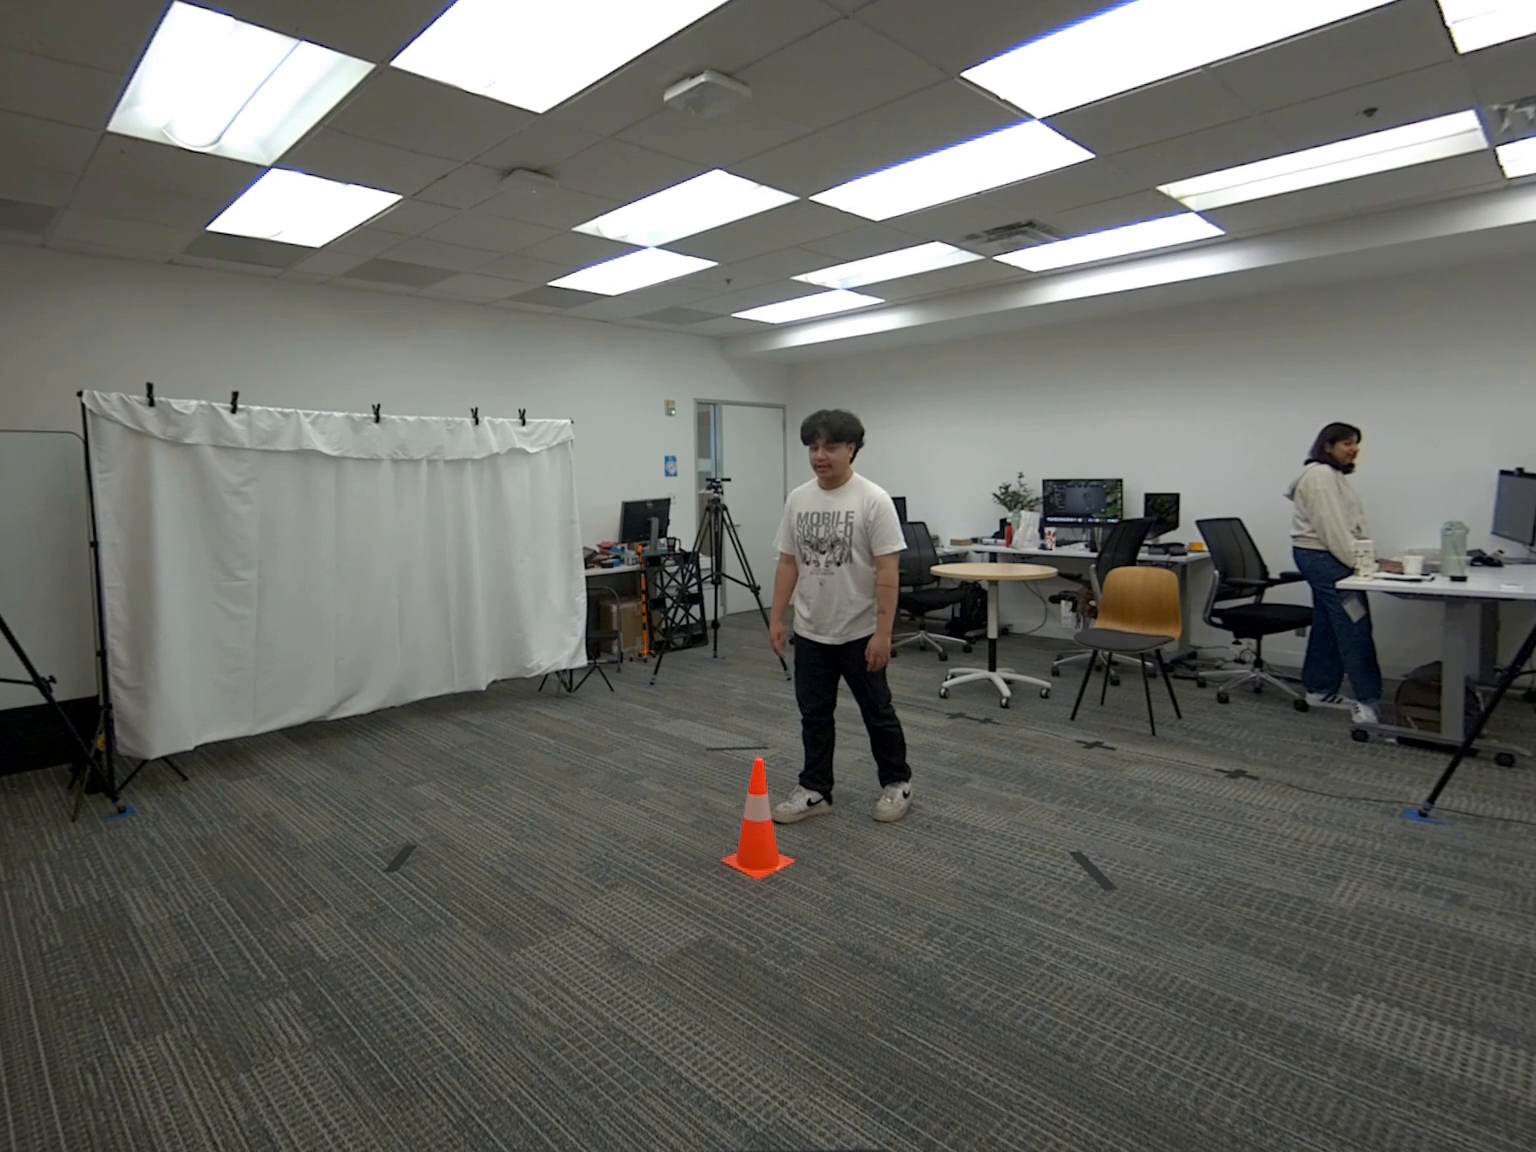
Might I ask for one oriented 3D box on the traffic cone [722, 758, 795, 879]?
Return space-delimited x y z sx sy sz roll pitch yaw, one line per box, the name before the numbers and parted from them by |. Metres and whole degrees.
traffic cone | -0.033 0.859 3.104 0.211 0.382 0.198 4 6 41
